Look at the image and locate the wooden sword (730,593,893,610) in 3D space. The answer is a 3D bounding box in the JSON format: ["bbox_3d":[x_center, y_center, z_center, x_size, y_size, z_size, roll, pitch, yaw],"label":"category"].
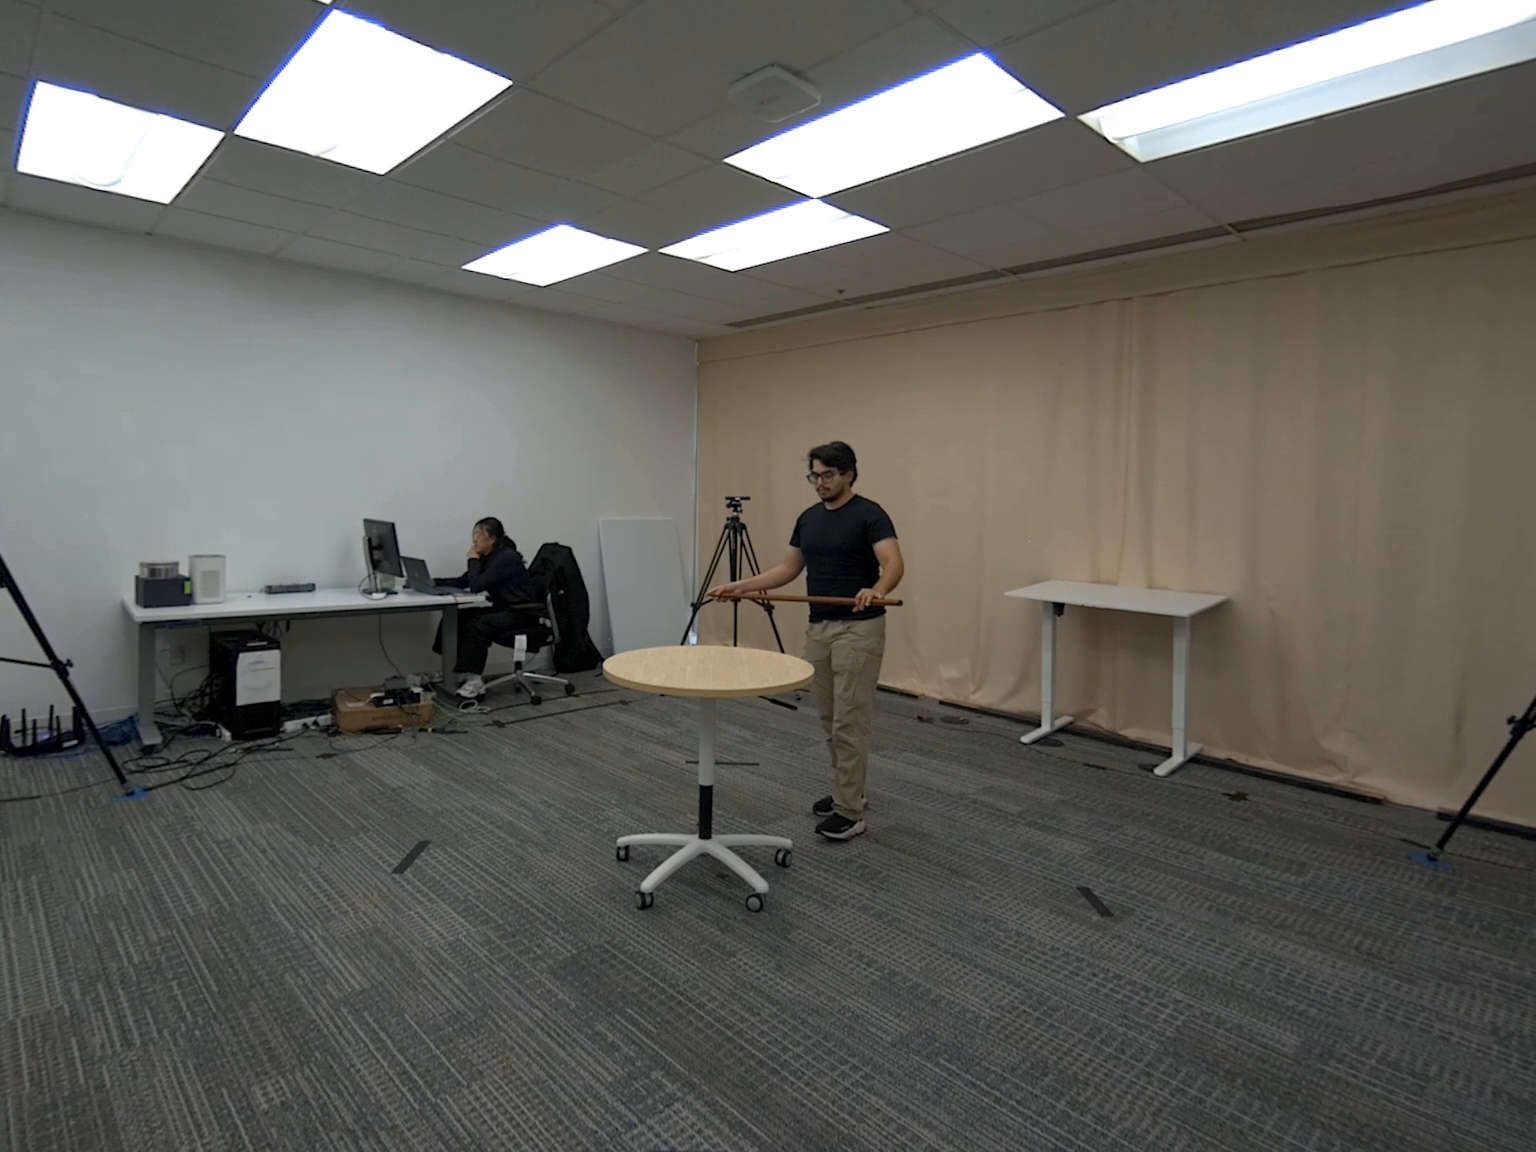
[{"bbox_3d":[0.086,0.108,3.455,0.050,0.024,1.046,43,-25,-27],"label":"wooden sword"}]
